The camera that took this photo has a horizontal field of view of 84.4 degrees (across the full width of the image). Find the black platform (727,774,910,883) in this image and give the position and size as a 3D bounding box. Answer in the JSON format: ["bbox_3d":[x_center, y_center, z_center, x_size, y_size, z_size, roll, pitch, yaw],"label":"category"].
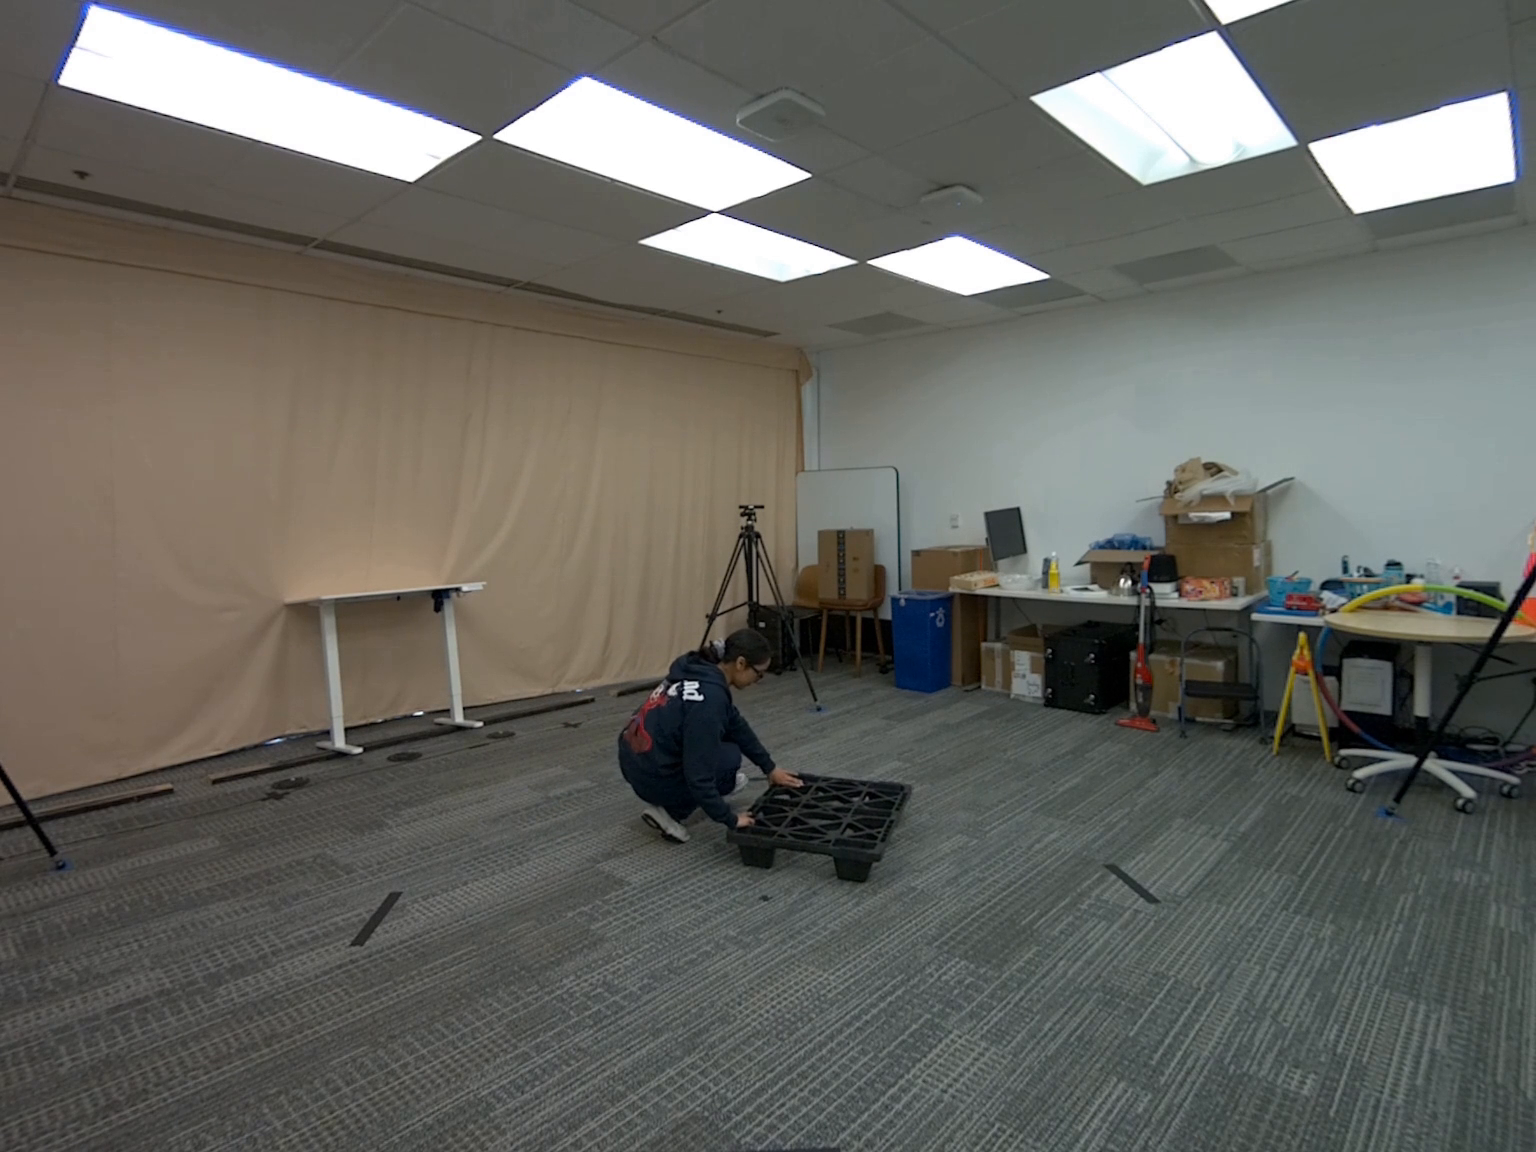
[{"bbox_3d":[0.244,1.023,3.491,0.618,0.143,0.791,0,5,19],"label":"black platform"}]
